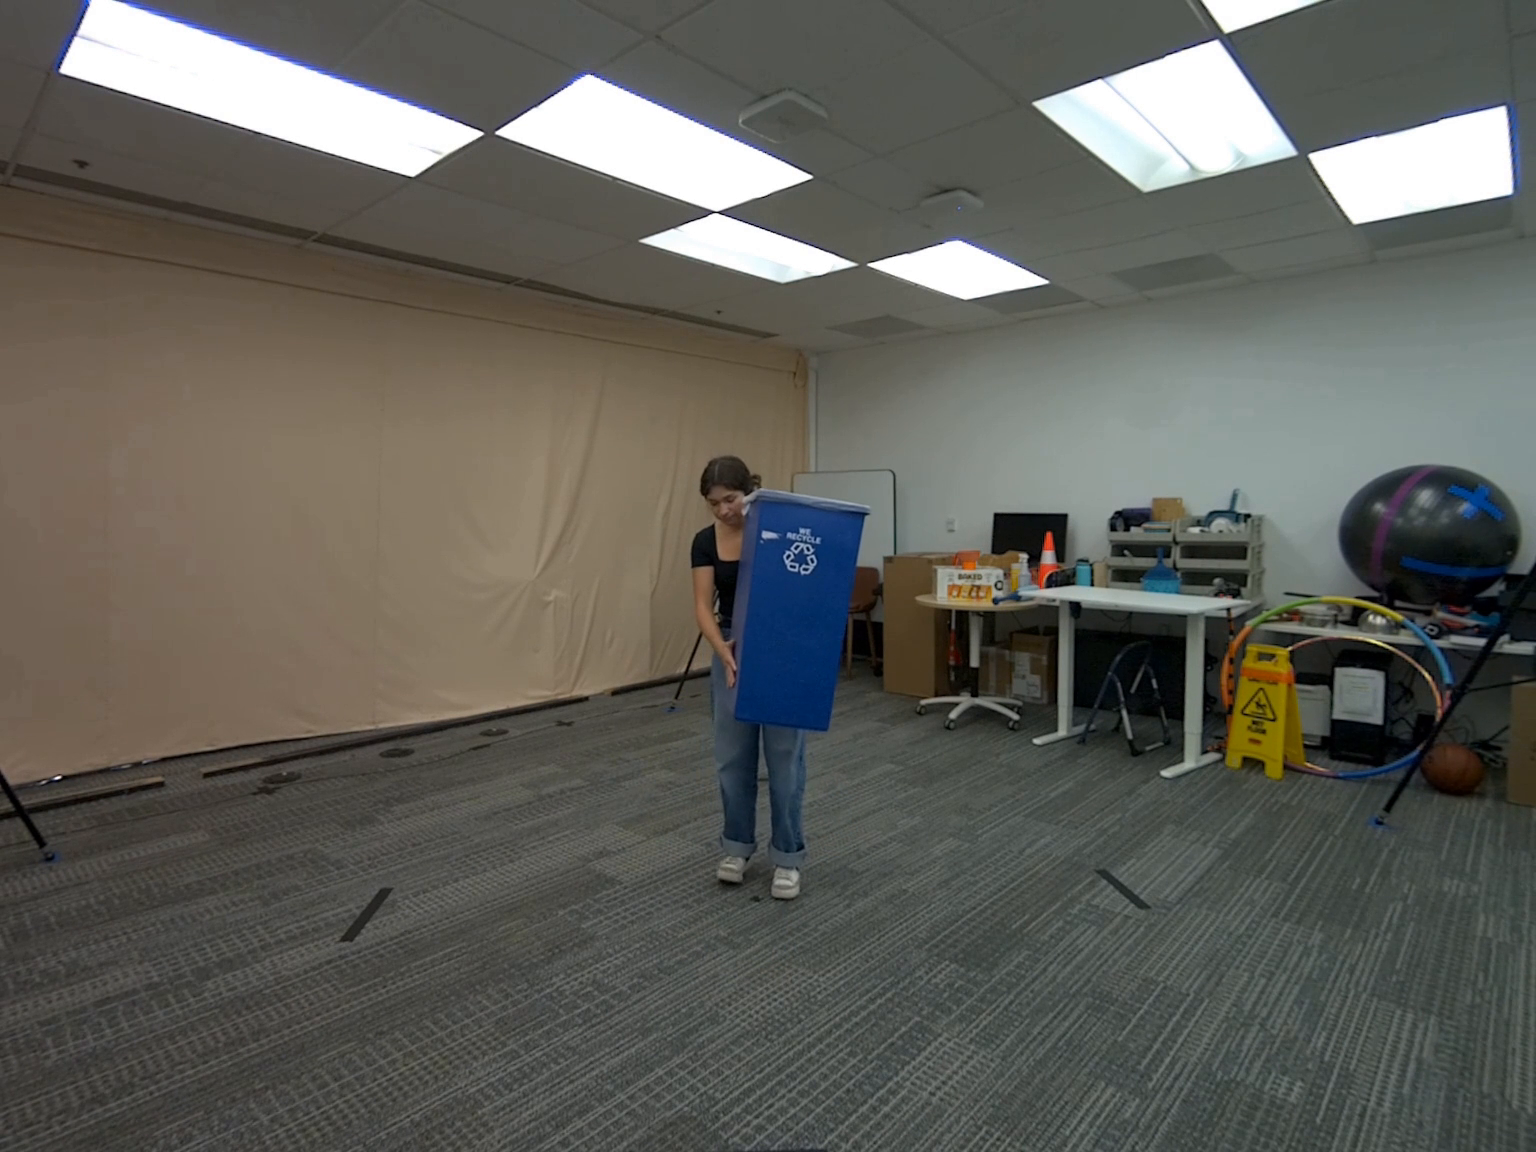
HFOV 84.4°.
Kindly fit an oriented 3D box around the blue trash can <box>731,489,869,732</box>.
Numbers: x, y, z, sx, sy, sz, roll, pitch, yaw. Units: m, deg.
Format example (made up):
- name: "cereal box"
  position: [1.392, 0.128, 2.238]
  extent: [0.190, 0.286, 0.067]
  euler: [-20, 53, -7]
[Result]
- name: "blue trash can"
  position: [0.076, 0.109, 2.745]
  extent: [0.371, 0.714, 0.381]
  euler: [7, -1, -9]
